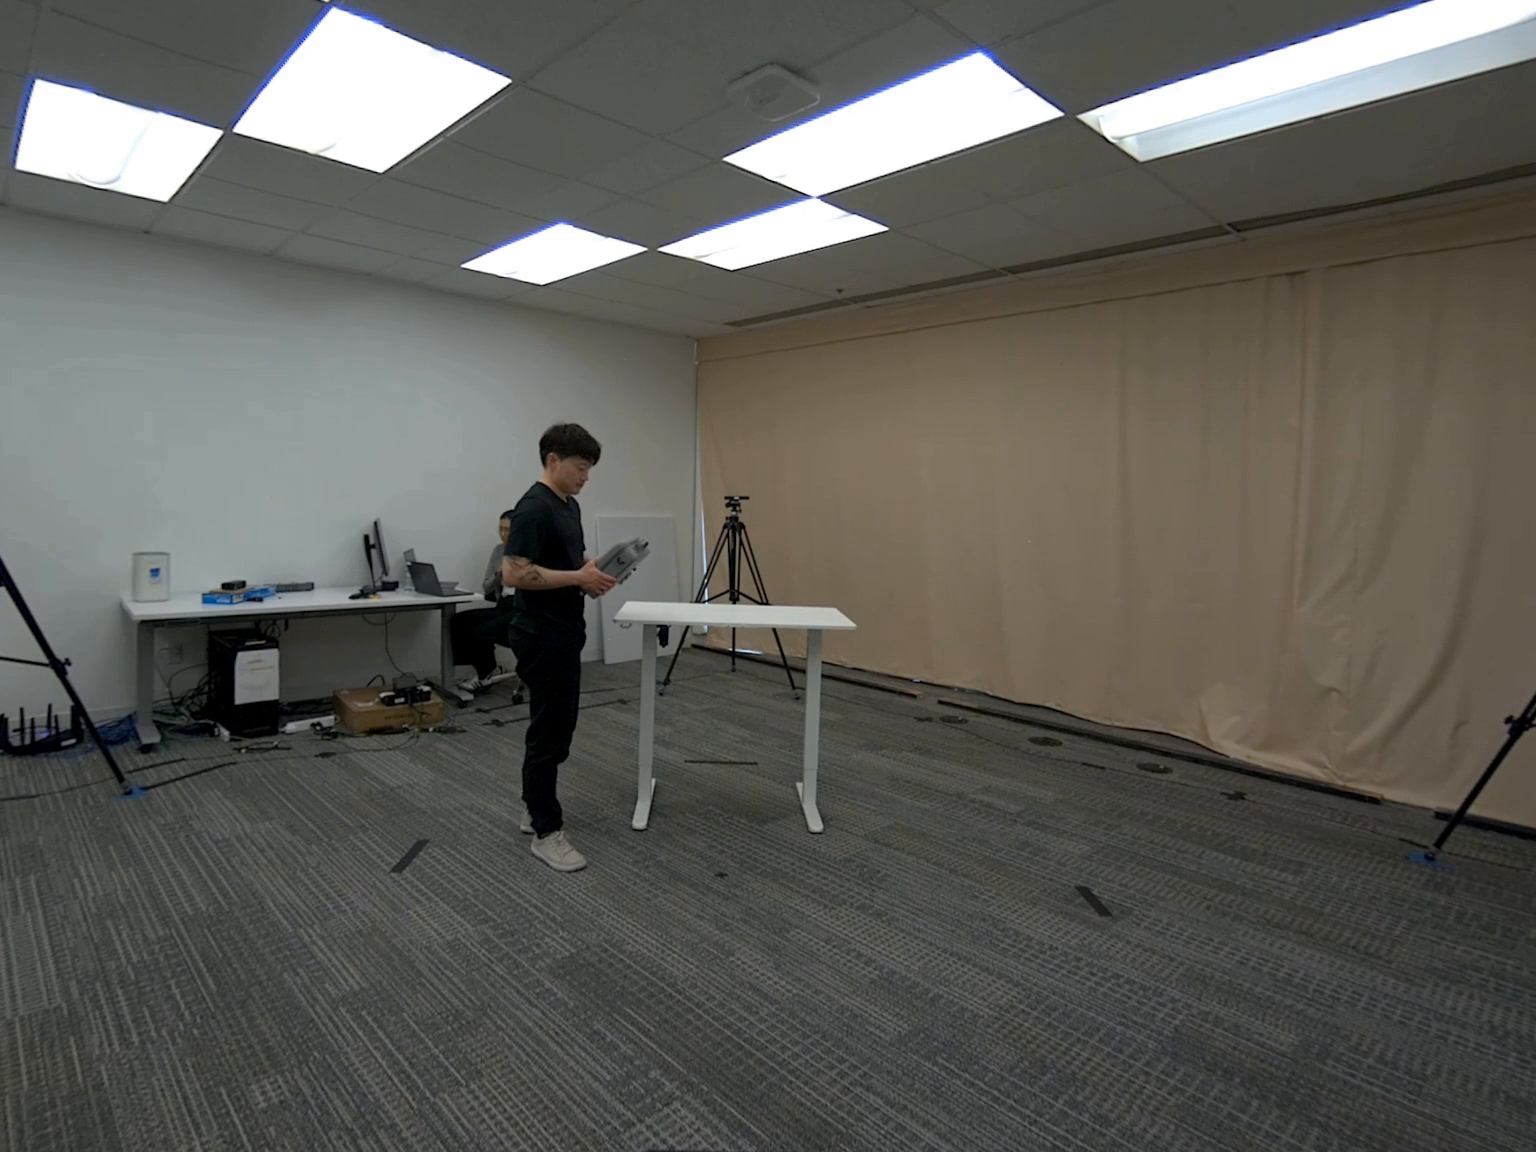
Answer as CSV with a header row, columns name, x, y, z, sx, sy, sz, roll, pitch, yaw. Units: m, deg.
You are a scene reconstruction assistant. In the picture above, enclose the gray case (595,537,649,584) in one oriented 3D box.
name,x,y,z,sx,sy,sz,roll,pitch,yaw
gray case,-0.605,-0.049,3.317,0.261,0.104,0.257,-41,2,14
